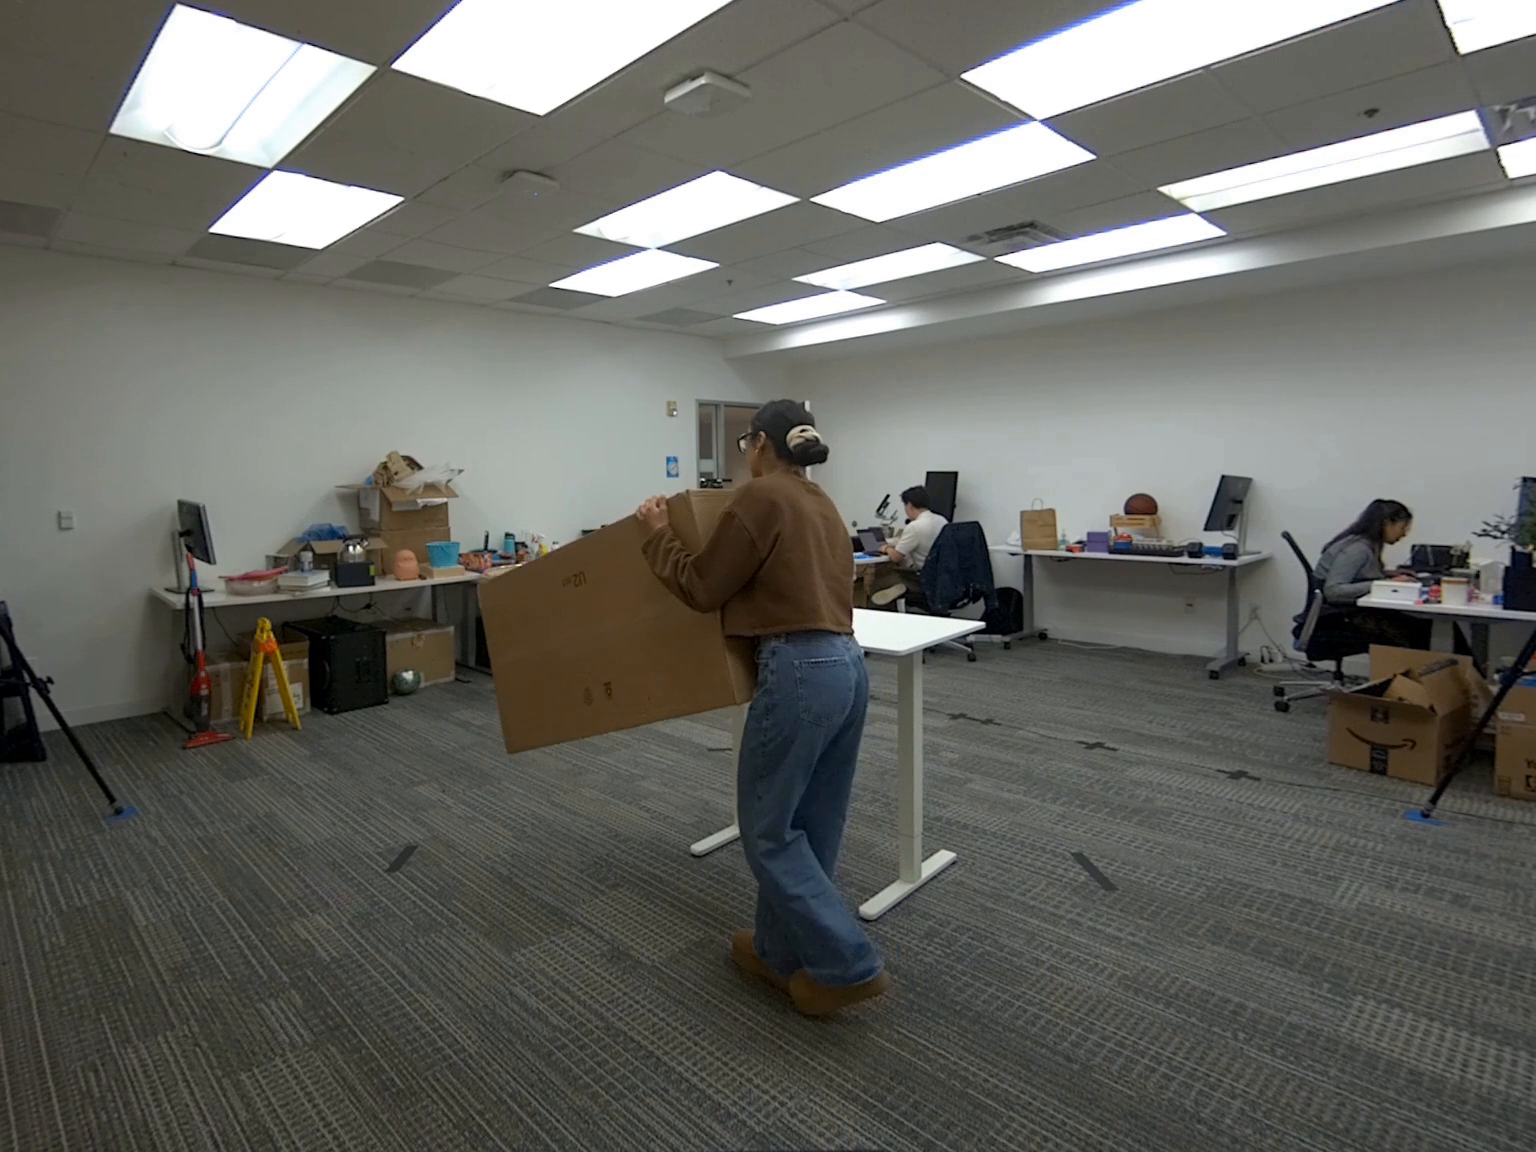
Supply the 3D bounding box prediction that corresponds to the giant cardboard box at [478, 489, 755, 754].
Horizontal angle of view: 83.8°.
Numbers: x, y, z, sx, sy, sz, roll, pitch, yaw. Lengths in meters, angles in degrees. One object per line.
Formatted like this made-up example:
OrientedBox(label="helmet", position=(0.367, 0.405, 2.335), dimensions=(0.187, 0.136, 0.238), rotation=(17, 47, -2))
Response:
OrientedBox(label="giant cardboard box", position=(-0.404, 0.169, 2.670), dimensions=(1.043, 0.583, 0.415), rotation=(-20, -10, 39))
